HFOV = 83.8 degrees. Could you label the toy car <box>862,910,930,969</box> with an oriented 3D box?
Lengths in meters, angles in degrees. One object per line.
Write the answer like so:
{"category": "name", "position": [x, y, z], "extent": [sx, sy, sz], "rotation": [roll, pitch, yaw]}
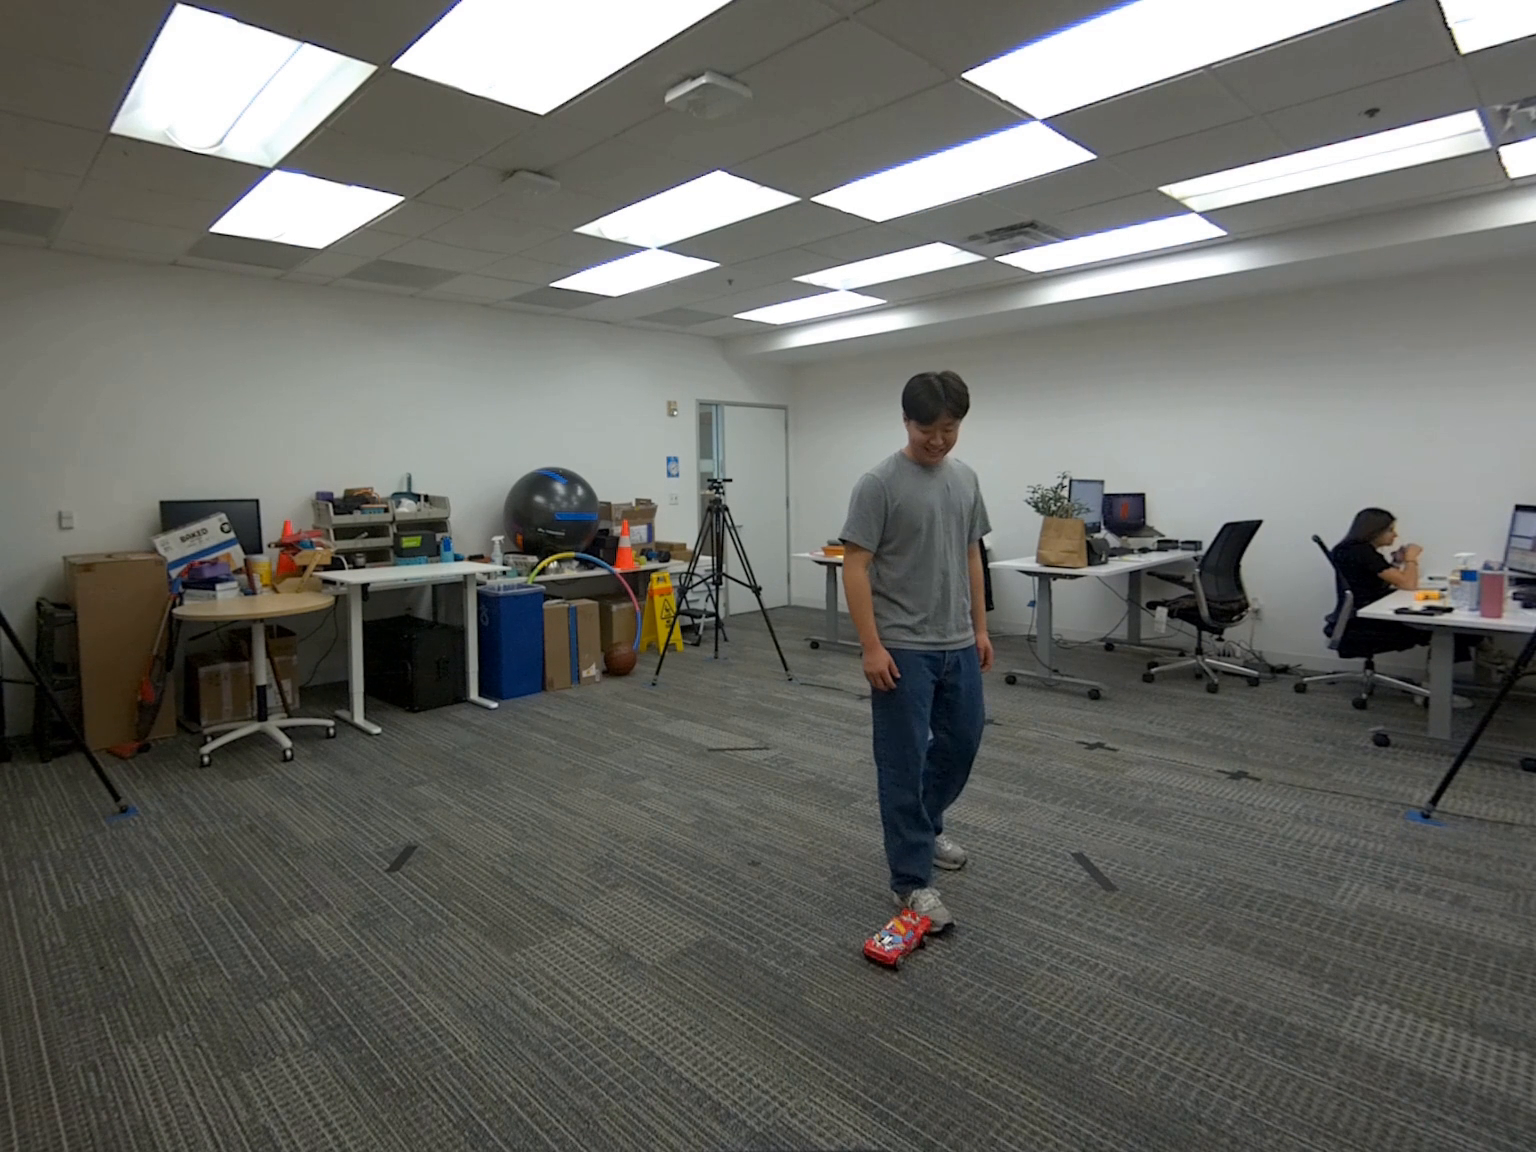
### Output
{"category": "toy car", "position": [0.400, 1.075, 2.525], "extent": [0.134, 0.082, 0.250], "rotation": [3, 19, 40]}
